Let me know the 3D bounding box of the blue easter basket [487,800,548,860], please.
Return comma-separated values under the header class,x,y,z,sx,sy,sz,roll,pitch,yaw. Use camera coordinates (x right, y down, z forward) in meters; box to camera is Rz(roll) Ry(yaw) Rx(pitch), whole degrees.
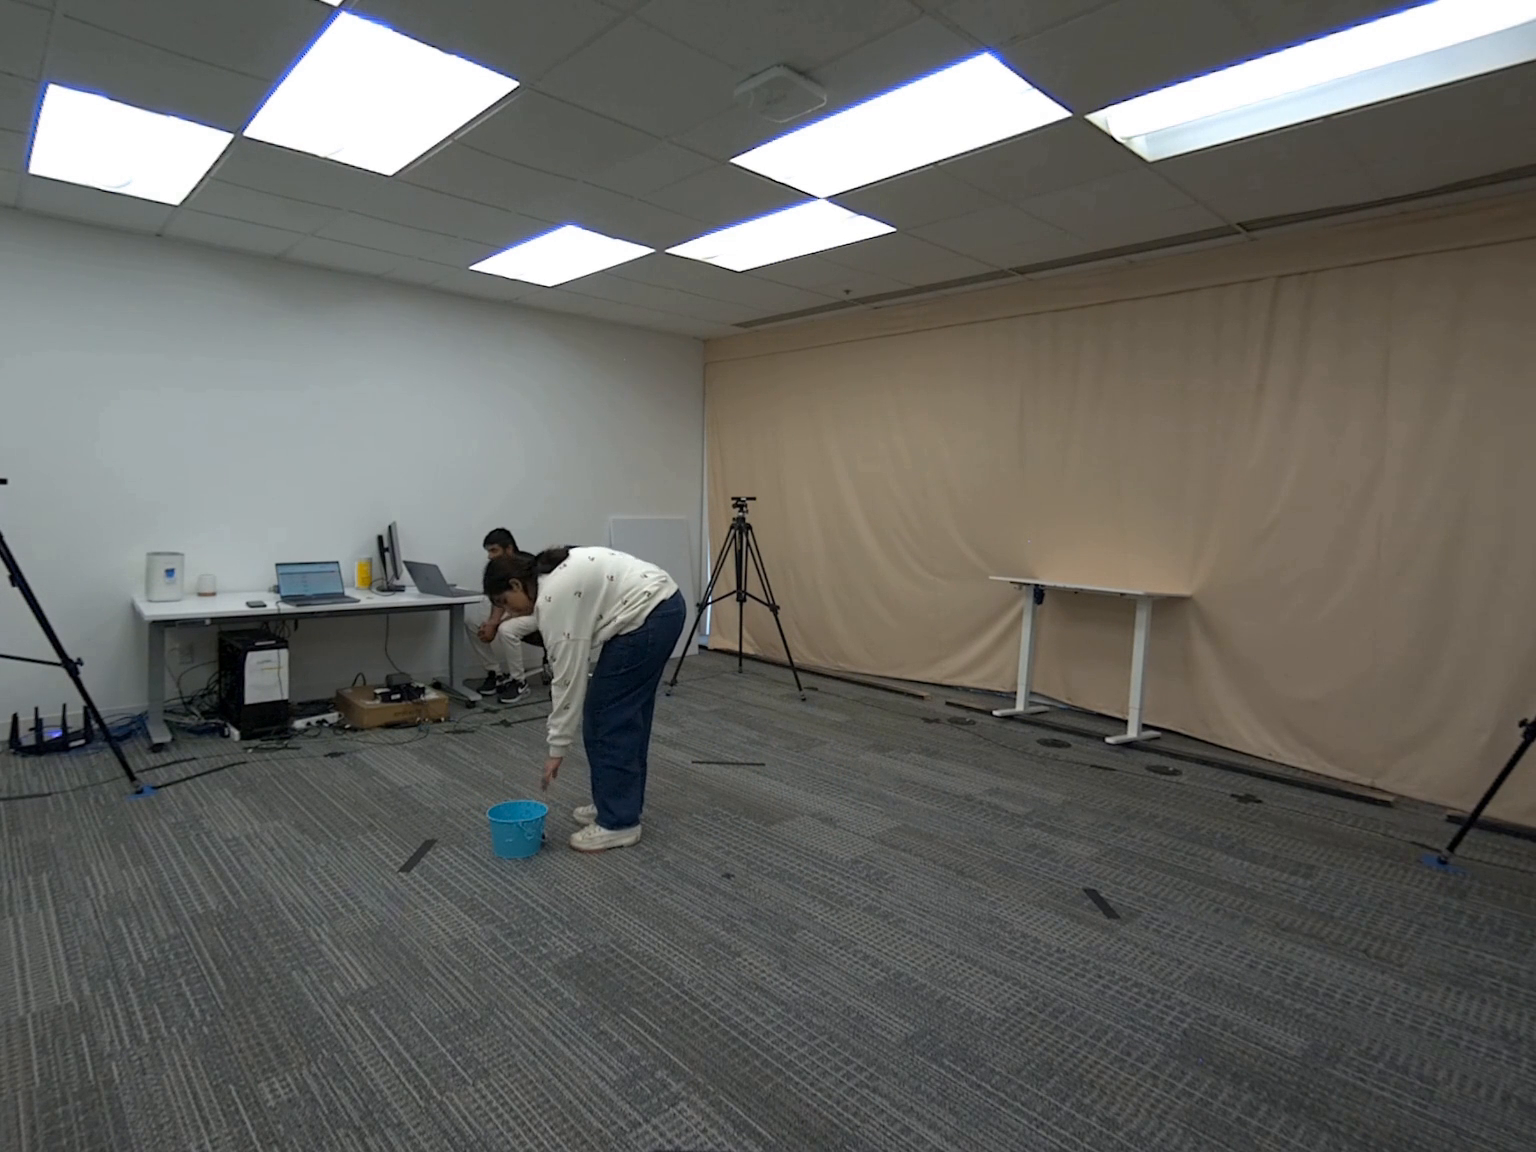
class,x,y,z,sx,sy,sz,roll,pitch,yaw
blue easter basket,-0.981,0.990,3.293,0.243,0.155,0.244,2,5,-2
